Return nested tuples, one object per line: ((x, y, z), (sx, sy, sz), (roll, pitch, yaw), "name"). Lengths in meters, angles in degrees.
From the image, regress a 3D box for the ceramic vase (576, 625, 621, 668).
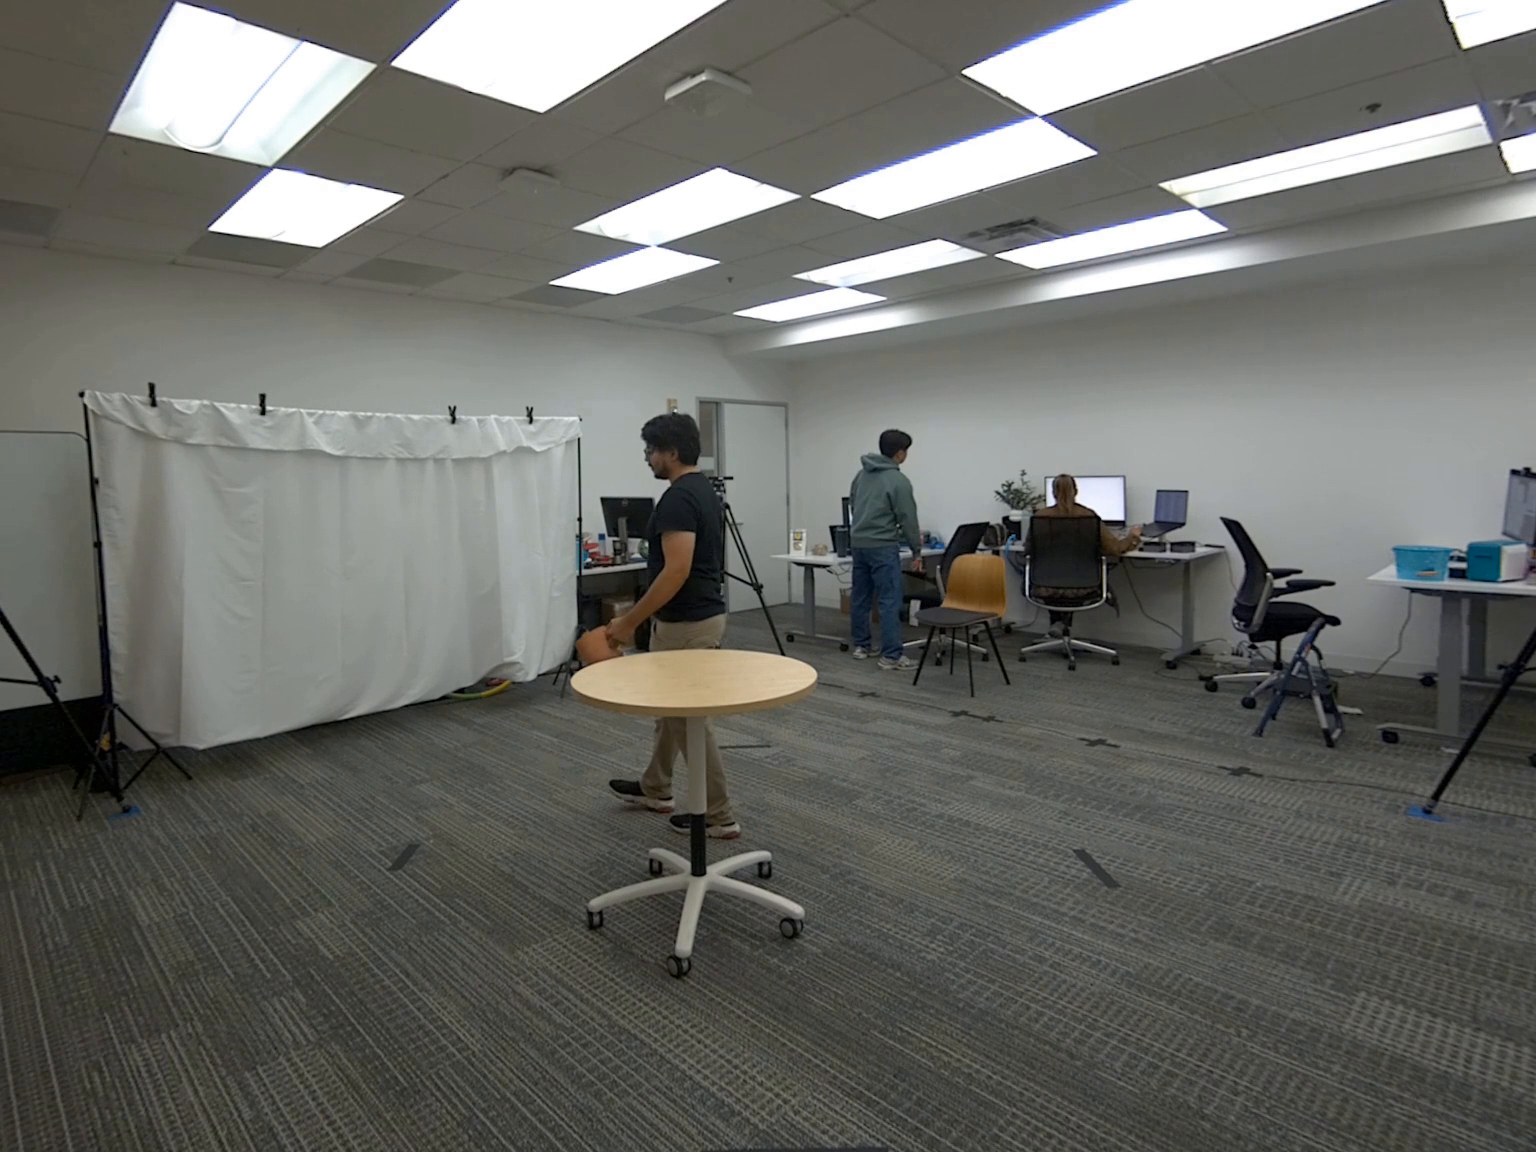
((-0.615, 0.315, 3.199), (0.133, 0.222, 0.159), (-28, -9, -25), "ceramic vase")
